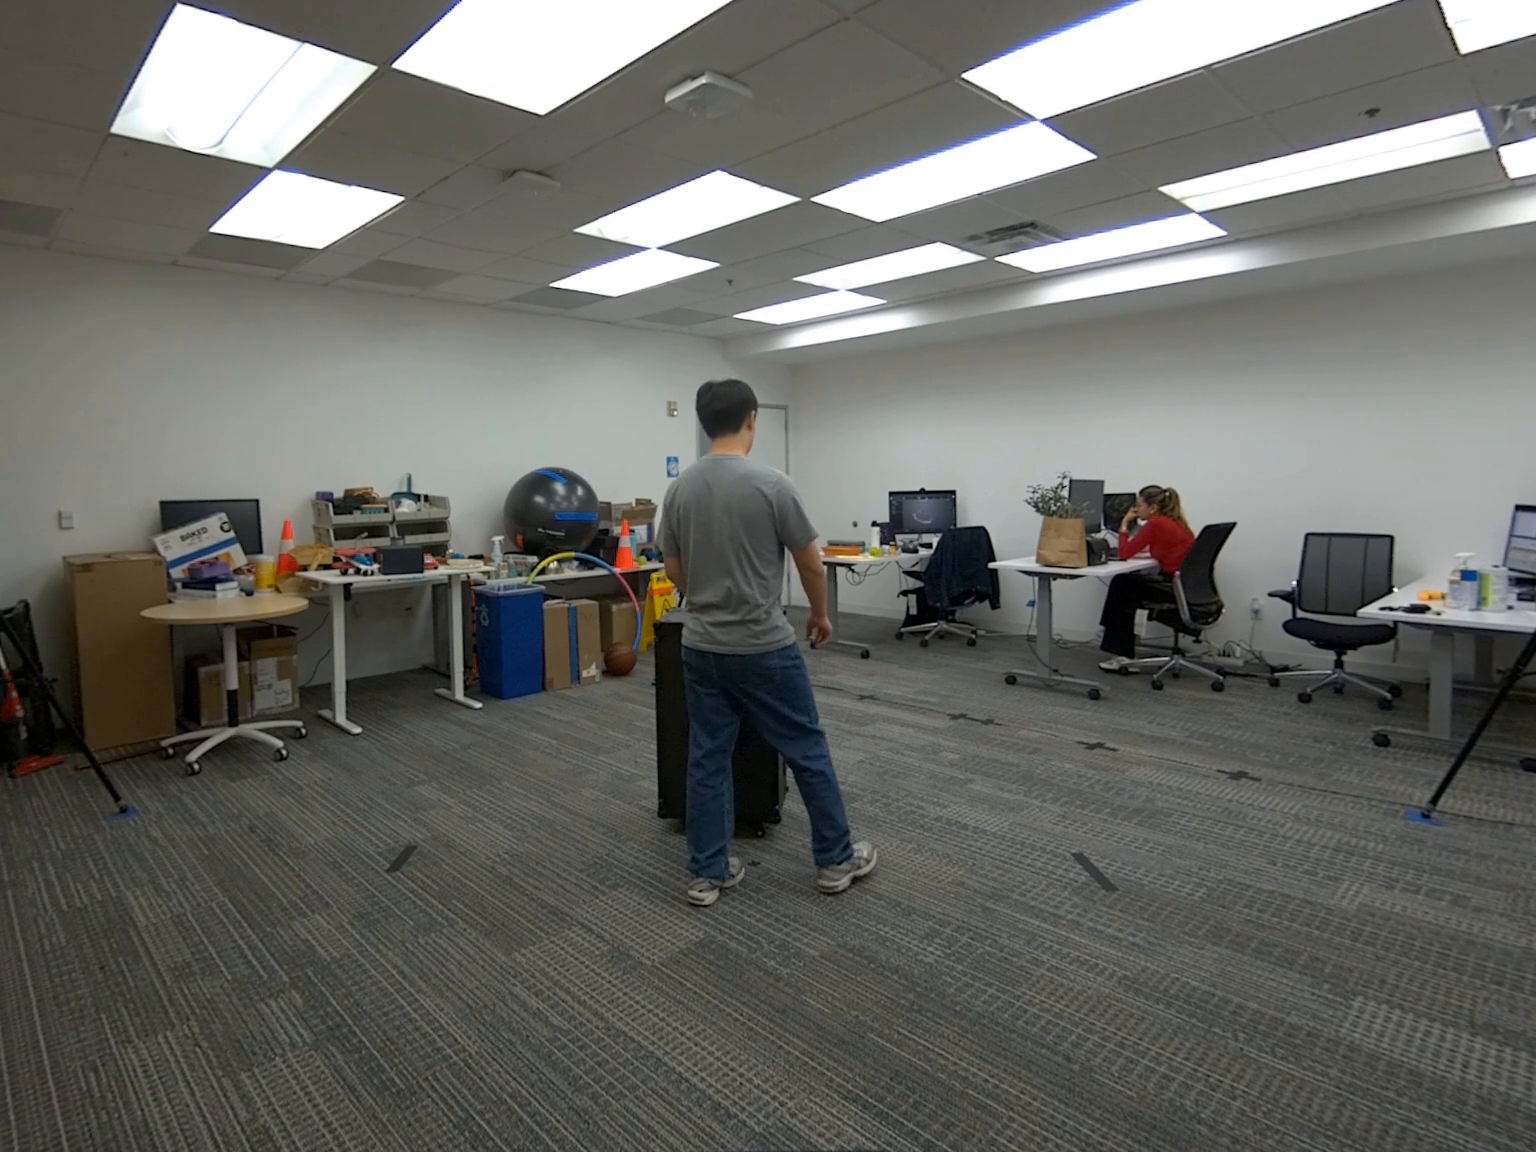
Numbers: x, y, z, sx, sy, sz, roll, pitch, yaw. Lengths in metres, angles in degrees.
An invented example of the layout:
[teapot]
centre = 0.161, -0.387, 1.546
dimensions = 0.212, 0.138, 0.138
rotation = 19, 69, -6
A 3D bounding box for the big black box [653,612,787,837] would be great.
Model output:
[big black box]
centre = -0.174, 0.582, 3.461
dimensions = 0.526, 0.857, 0.394
rotation = 1, 5, 9
